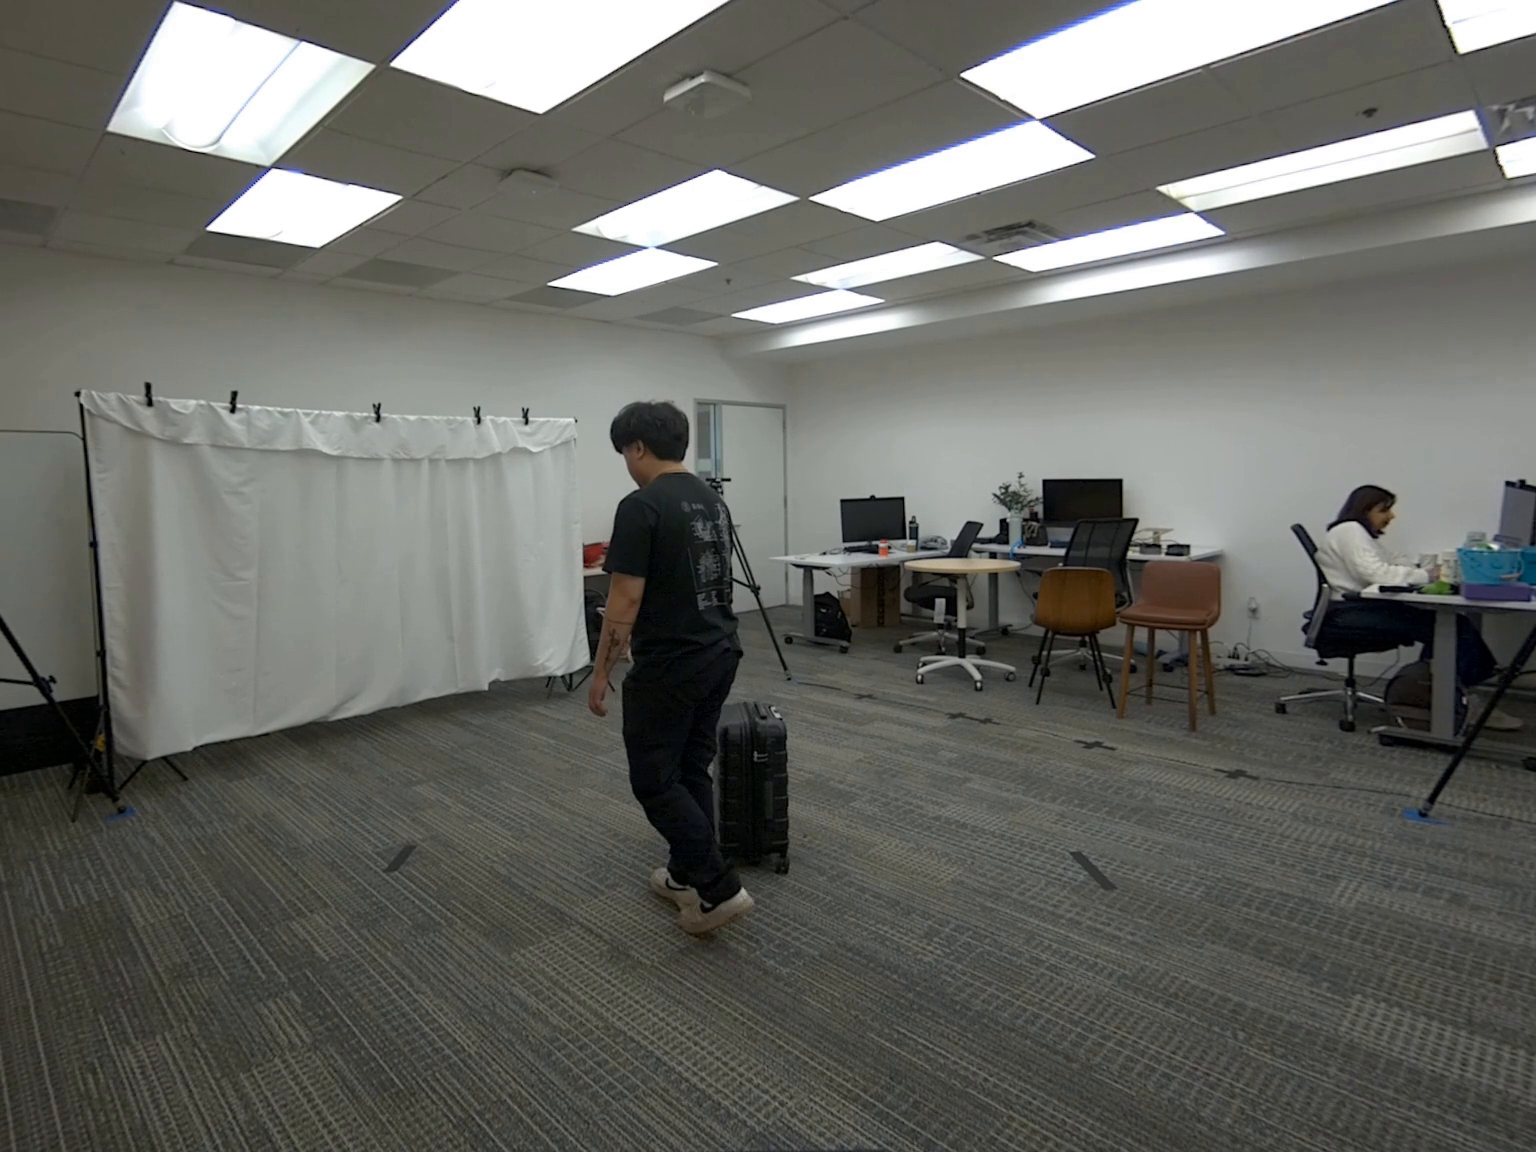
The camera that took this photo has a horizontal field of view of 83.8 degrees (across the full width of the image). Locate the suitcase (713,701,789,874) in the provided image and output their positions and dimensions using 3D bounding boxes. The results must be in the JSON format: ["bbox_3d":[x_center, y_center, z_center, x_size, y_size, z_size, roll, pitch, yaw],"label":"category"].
[{"bbox_3d":[-0.065,0.758,3.170,0.247,0.547,0.379,-1,4,-7],"label":"suitcase"}]
